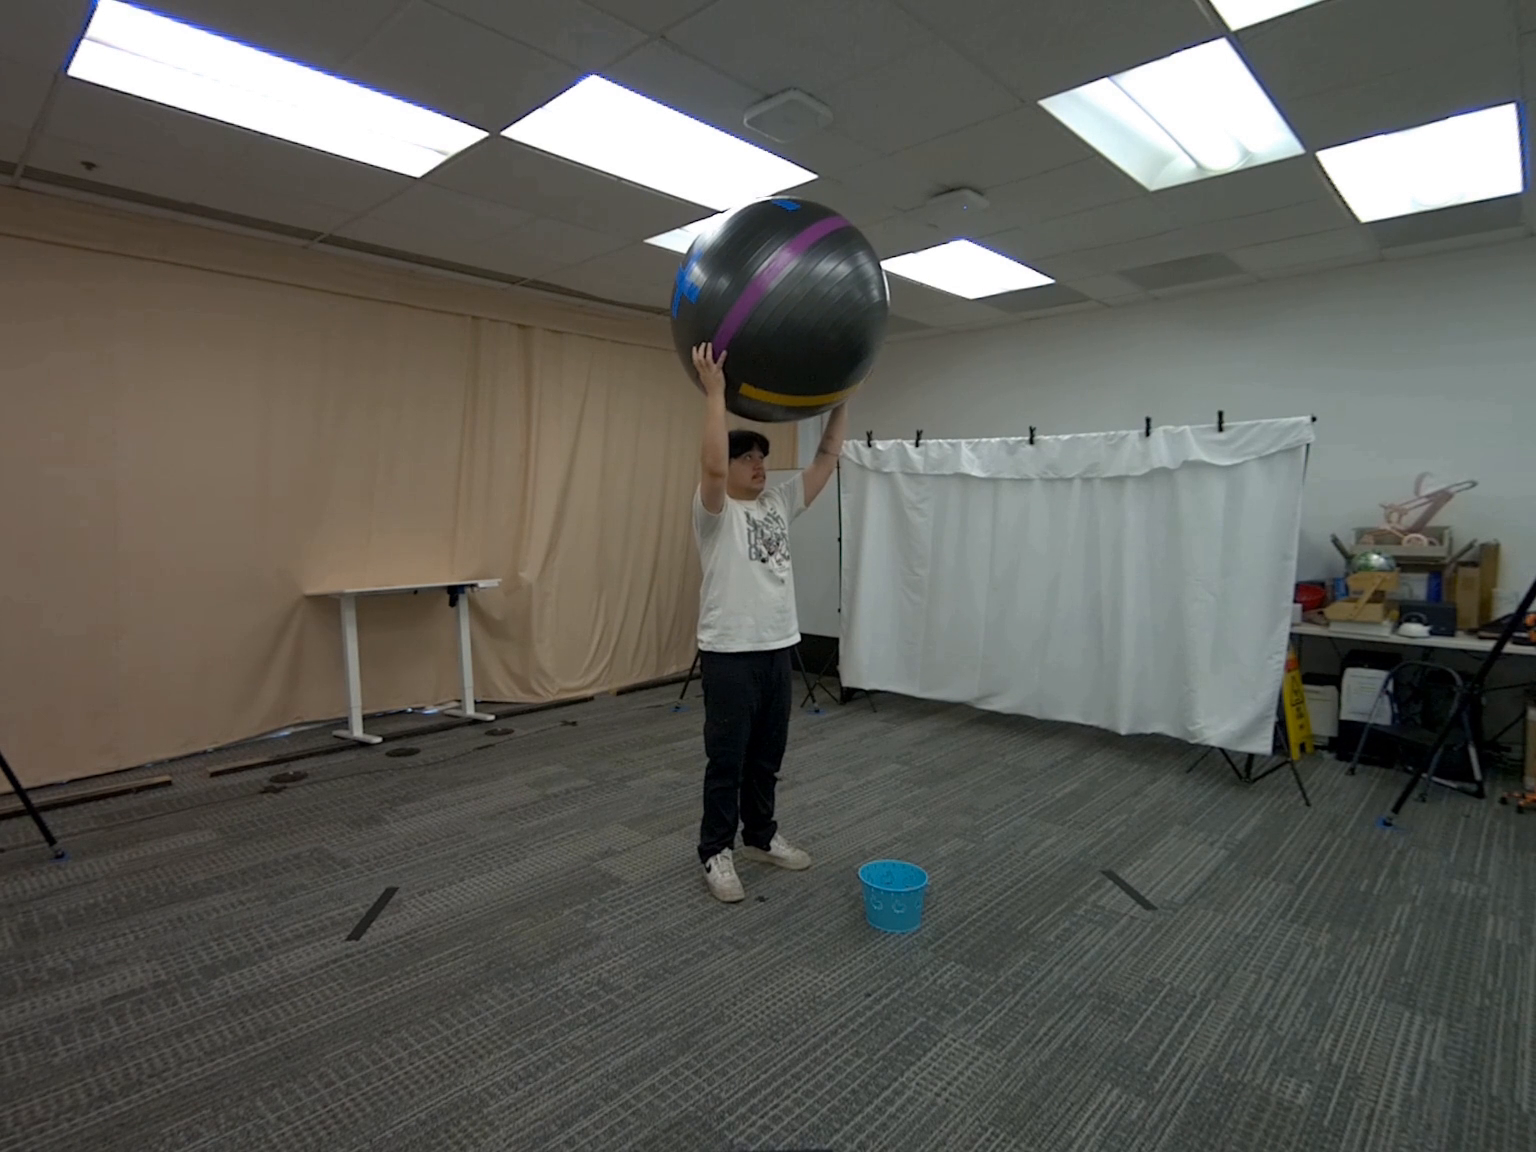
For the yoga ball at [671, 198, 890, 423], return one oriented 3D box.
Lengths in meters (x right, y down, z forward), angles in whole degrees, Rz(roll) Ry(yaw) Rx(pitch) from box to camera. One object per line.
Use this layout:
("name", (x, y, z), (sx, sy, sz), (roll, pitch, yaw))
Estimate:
("yoga ball", (0.045, -0.911, 2.937), (0.757, 0.756, 0.760), (0, 4, -2))
